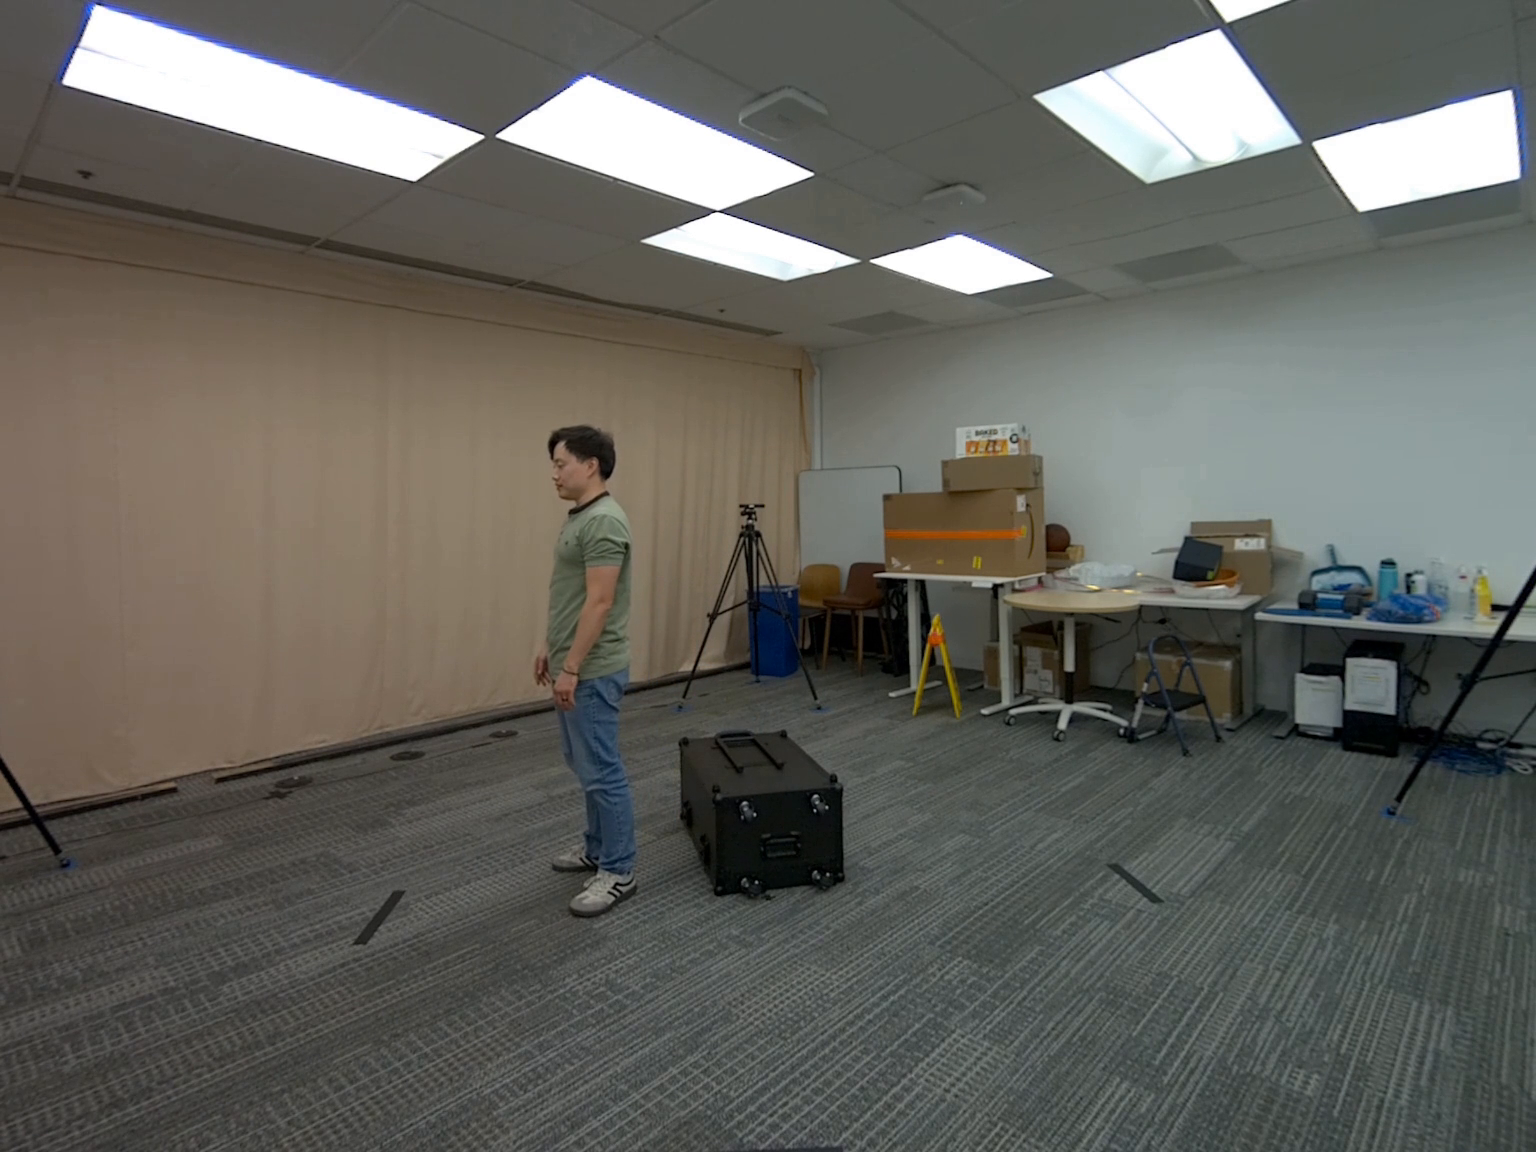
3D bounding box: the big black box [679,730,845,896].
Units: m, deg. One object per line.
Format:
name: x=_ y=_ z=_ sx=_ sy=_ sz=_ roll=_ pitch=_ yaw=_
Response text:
big black box: x=-0.043 y=0.914 z=3.386 sx=0.514 sy=0.395 sz=0.877 roll=-3 pitch=6 yaw=-15
